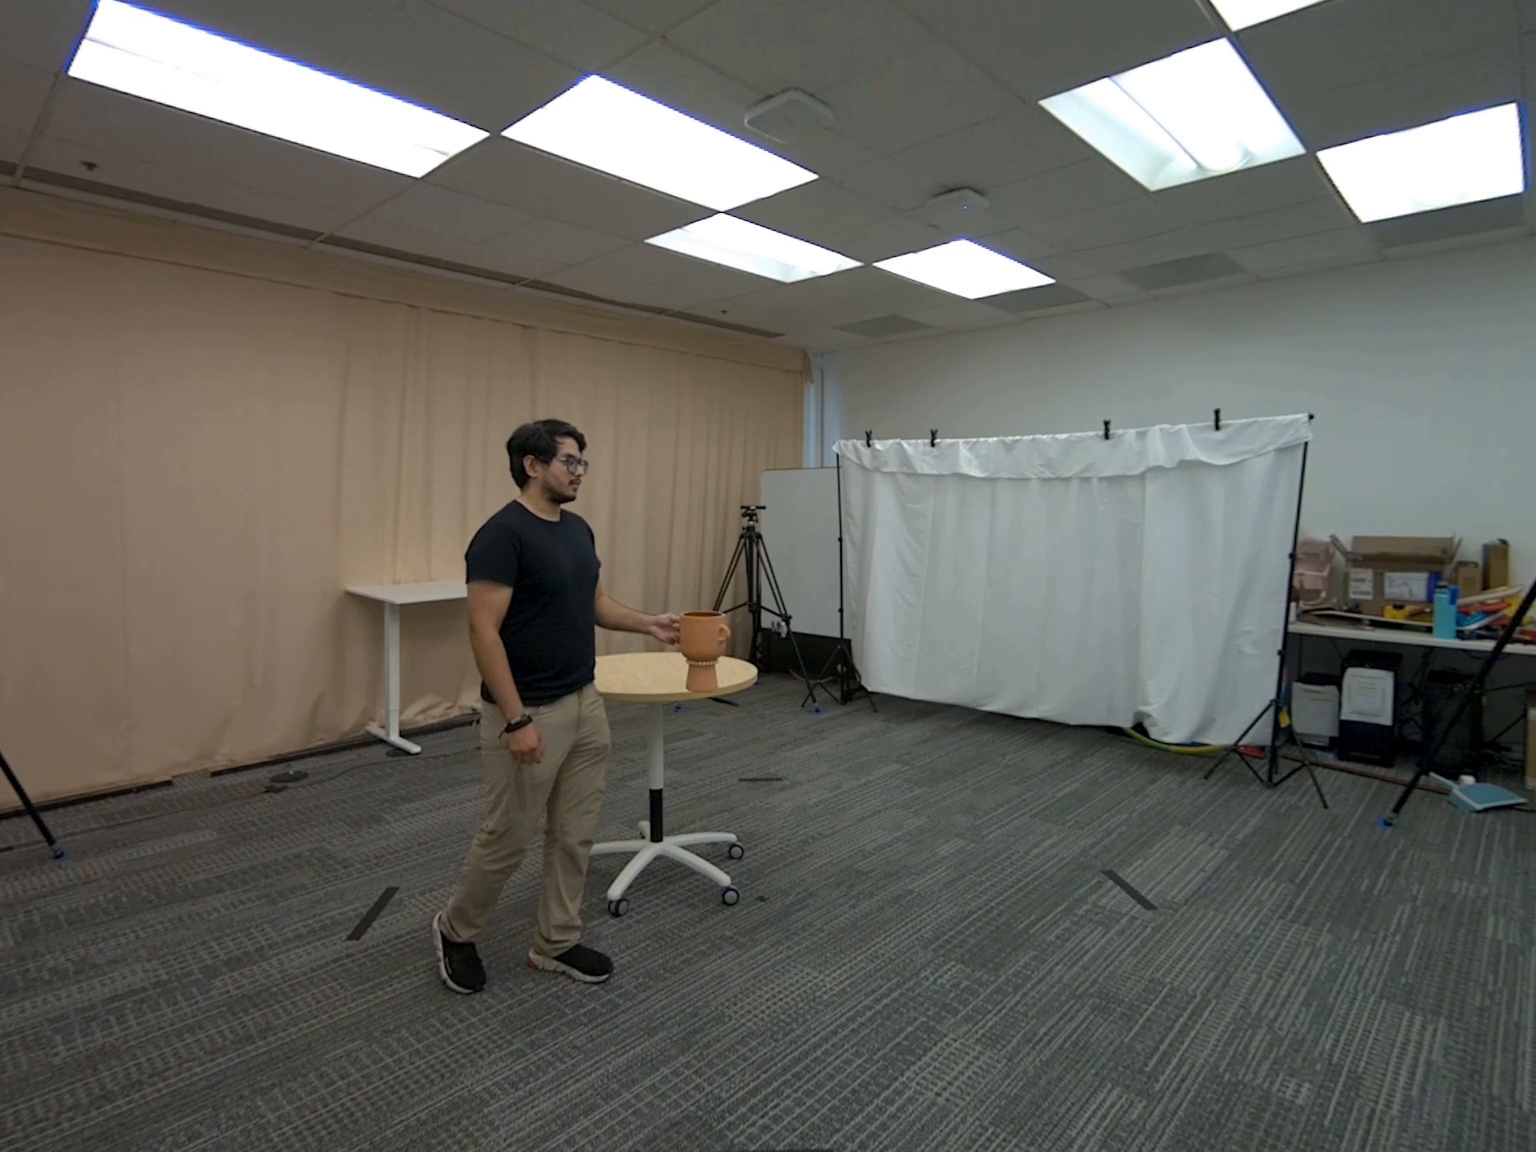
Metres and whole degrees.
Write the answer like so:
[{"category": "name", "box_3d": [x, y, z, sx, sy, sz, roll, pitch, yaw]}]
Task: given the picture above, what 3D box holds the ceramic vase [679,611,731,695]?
[{"category": "ceramic vase", "box_3d": [-0.195, 0.224, 2.457, 0.132, 0.219, 0.162, 0, 5, -17]}]
